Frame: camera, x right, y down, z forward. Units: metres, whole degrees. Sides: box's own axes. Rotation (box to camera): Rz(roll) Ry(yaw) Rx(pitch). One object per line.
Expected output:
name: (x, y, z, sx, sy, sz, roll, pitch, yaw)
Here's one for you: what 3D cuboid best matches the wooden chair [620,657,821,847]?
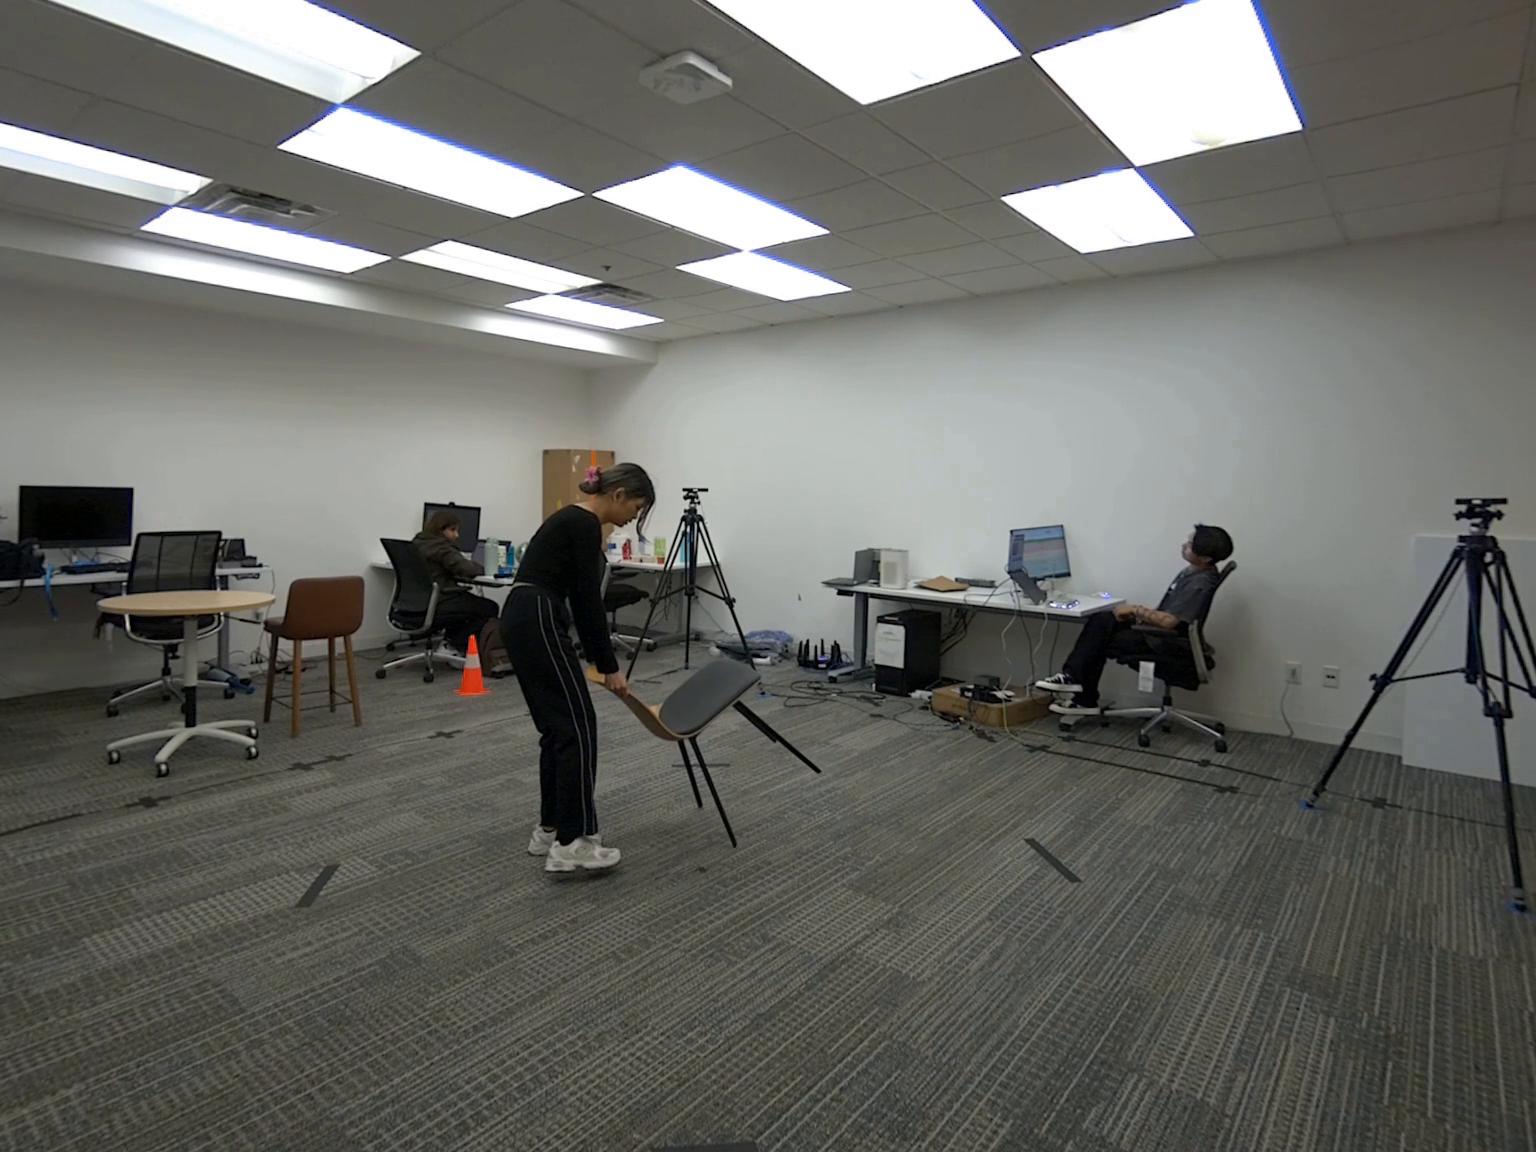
wooden chair: (-0.276, 0.552, 3.469, 0.522, 0.861, 0.488, -41, 15, -13)
